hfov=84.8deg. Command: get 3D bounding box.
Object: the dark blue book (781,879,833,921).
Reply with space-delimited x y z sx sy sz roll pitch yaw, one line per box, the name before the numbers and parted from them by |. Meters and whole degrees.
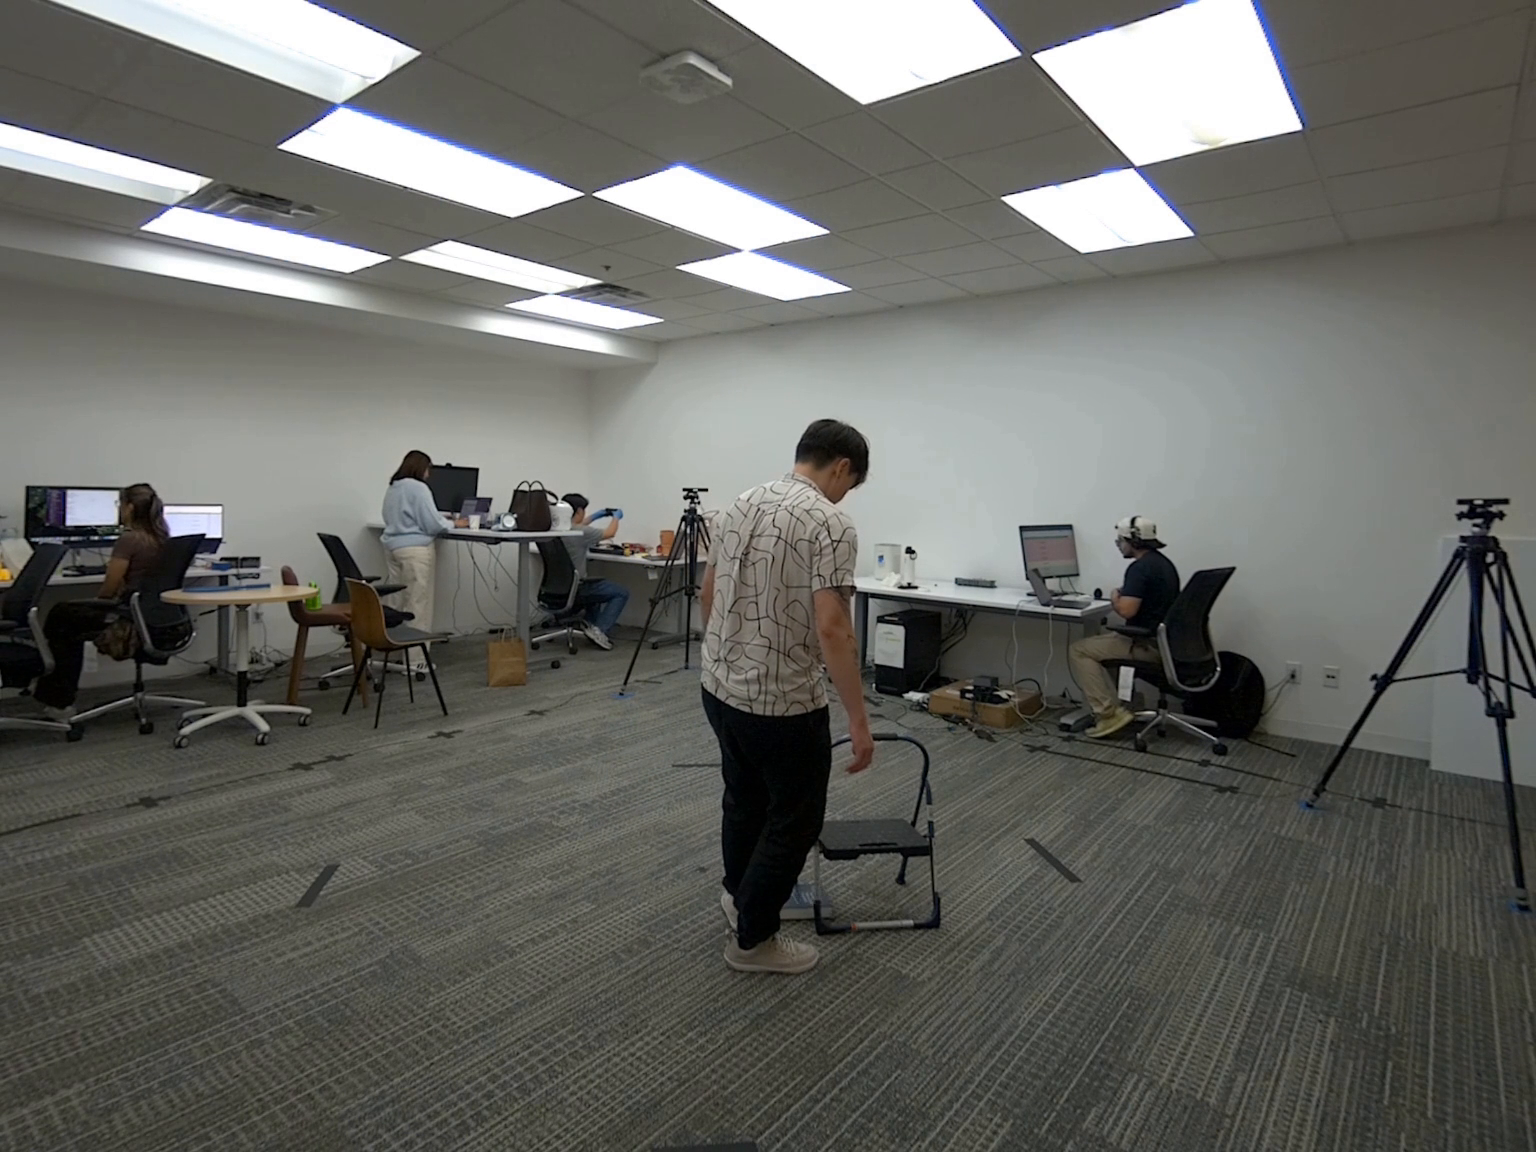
dark blue book | 0.076 1.090 2.830 0.243 0.045 0.166 0 6 -9
